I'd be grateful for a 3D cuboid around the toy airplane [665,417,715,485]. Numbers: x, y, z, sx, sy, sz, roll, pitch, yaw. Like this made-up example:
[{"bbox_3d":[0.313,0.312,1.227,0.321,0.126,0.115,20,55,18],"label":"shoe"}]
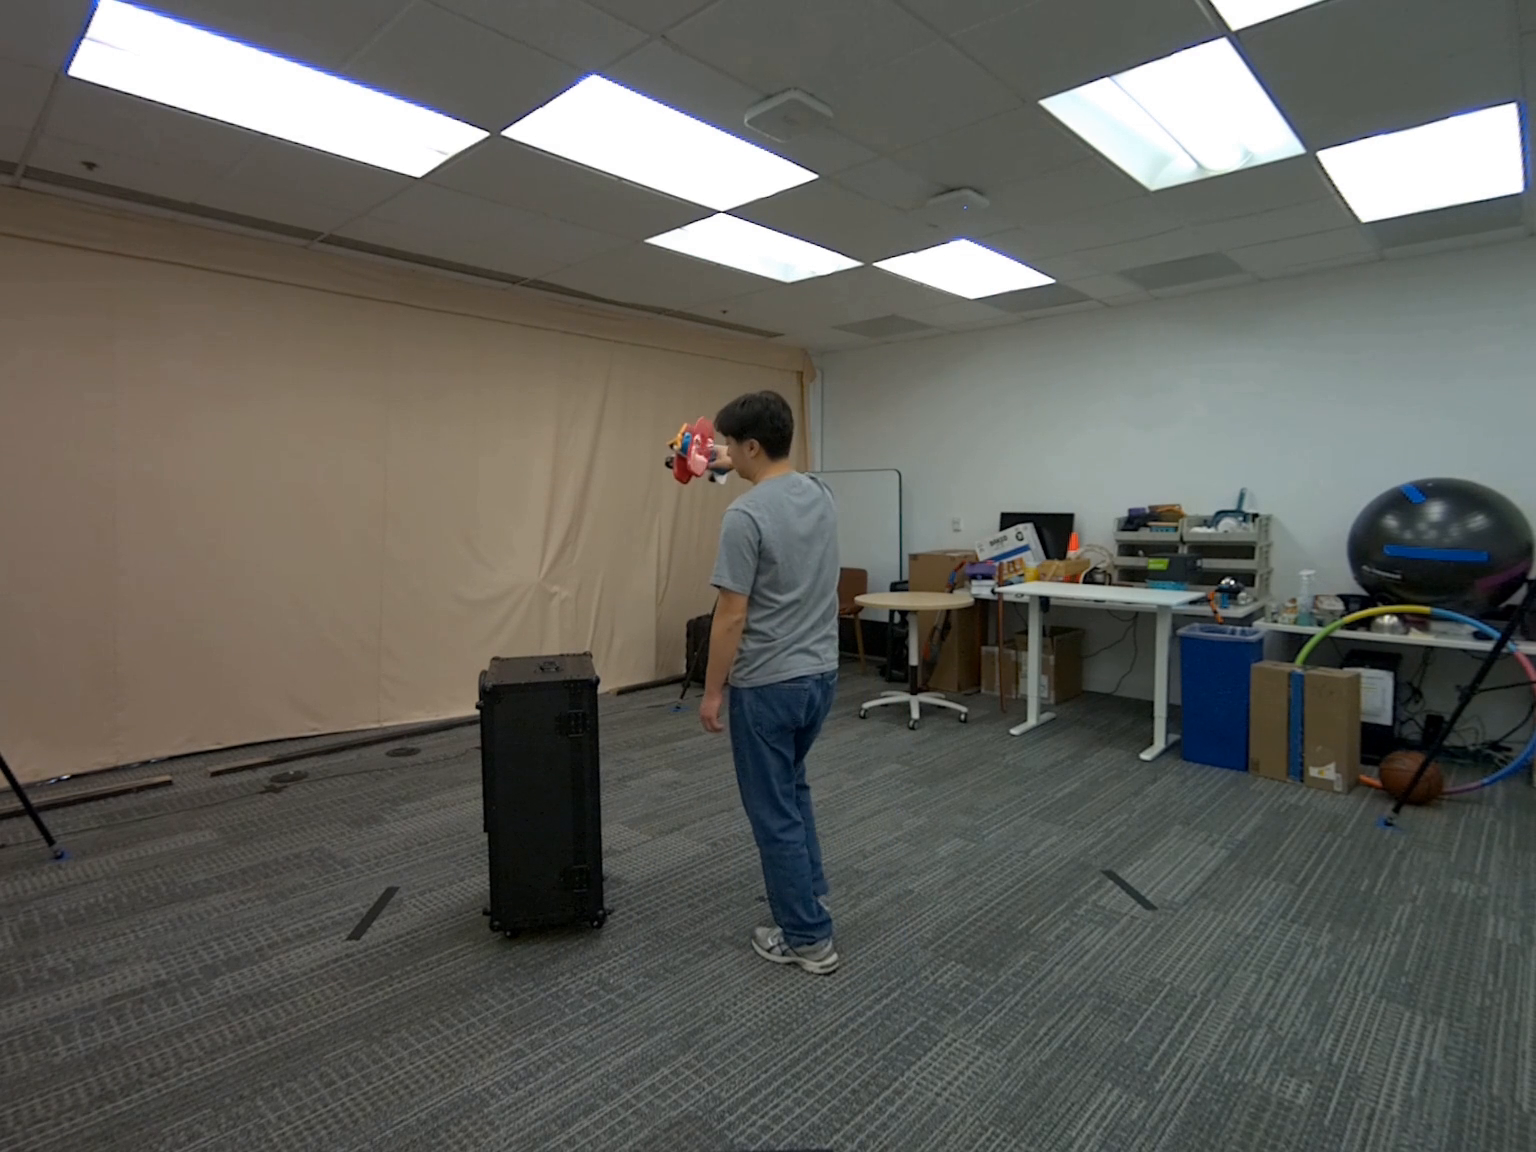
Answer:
[{"bbox_3d":[-0.249,-0.459,3.156,0.252,0.255,0.158,-4,-19,-32],"label":"toy airplane"}]
